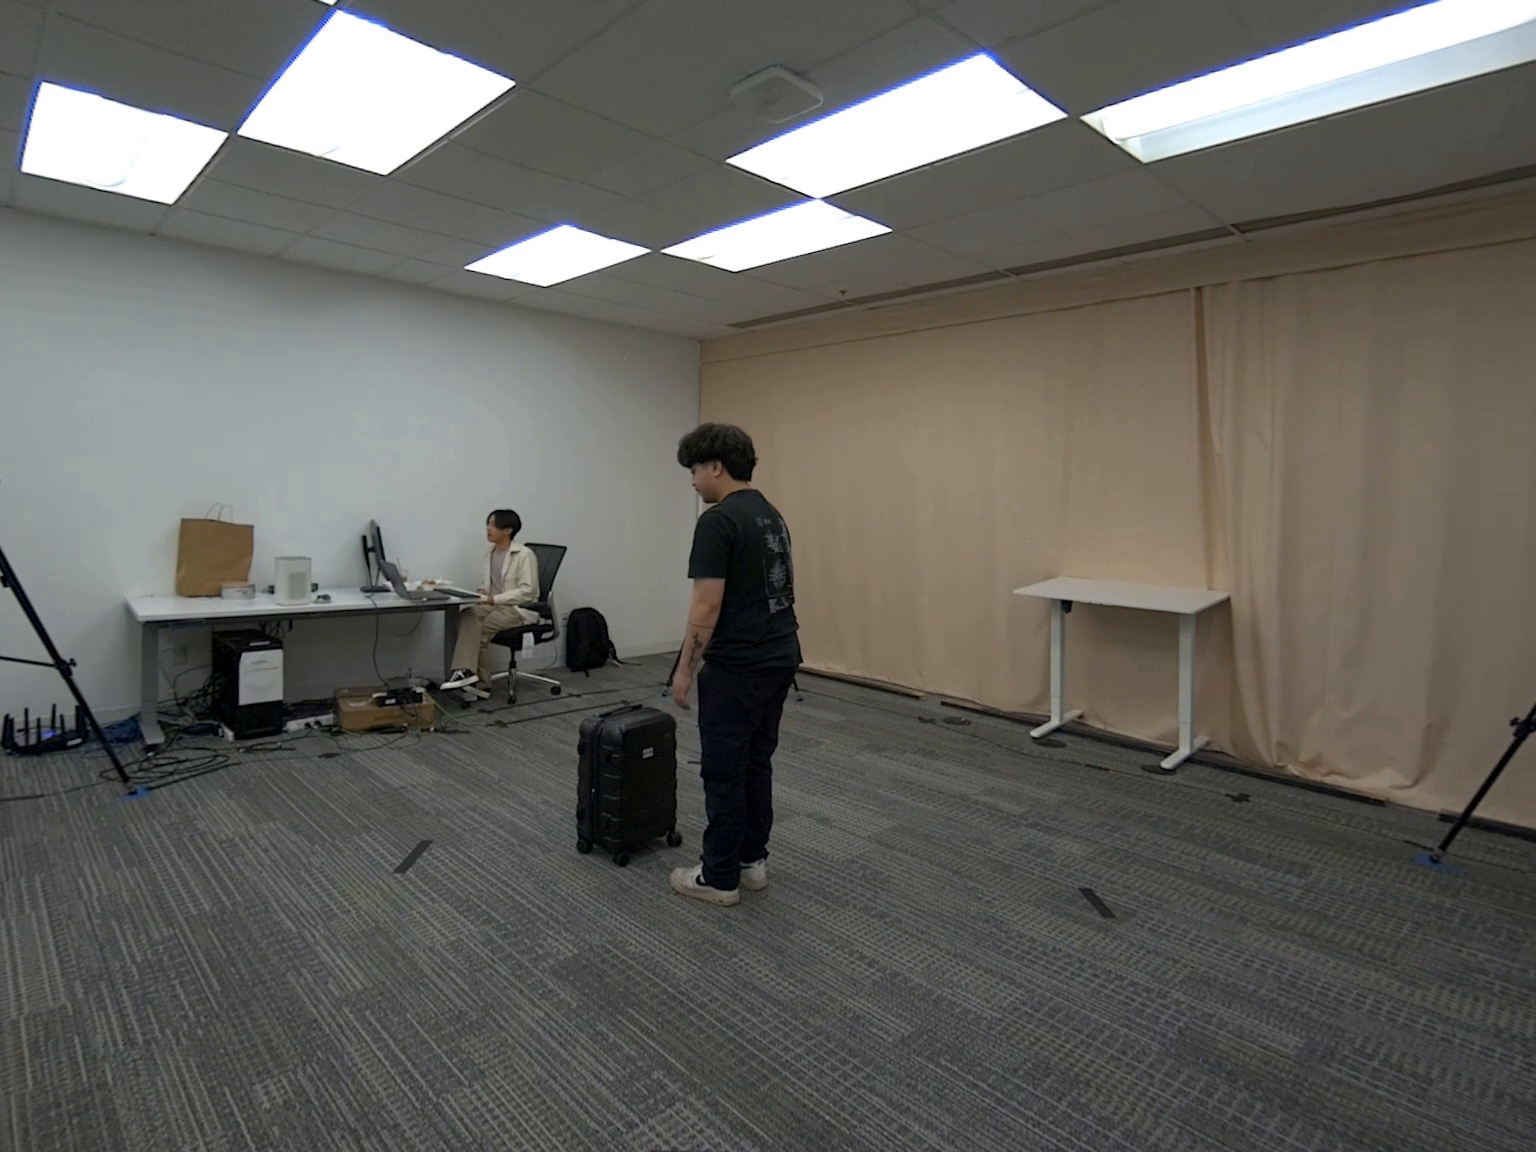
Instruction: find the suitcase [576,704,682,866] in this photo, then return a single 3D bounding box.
[{"bbox_3d":[-0.560,0.804,3.331,0.254,0.548,0.367,3,4,38],"label":"suitcase"}]
